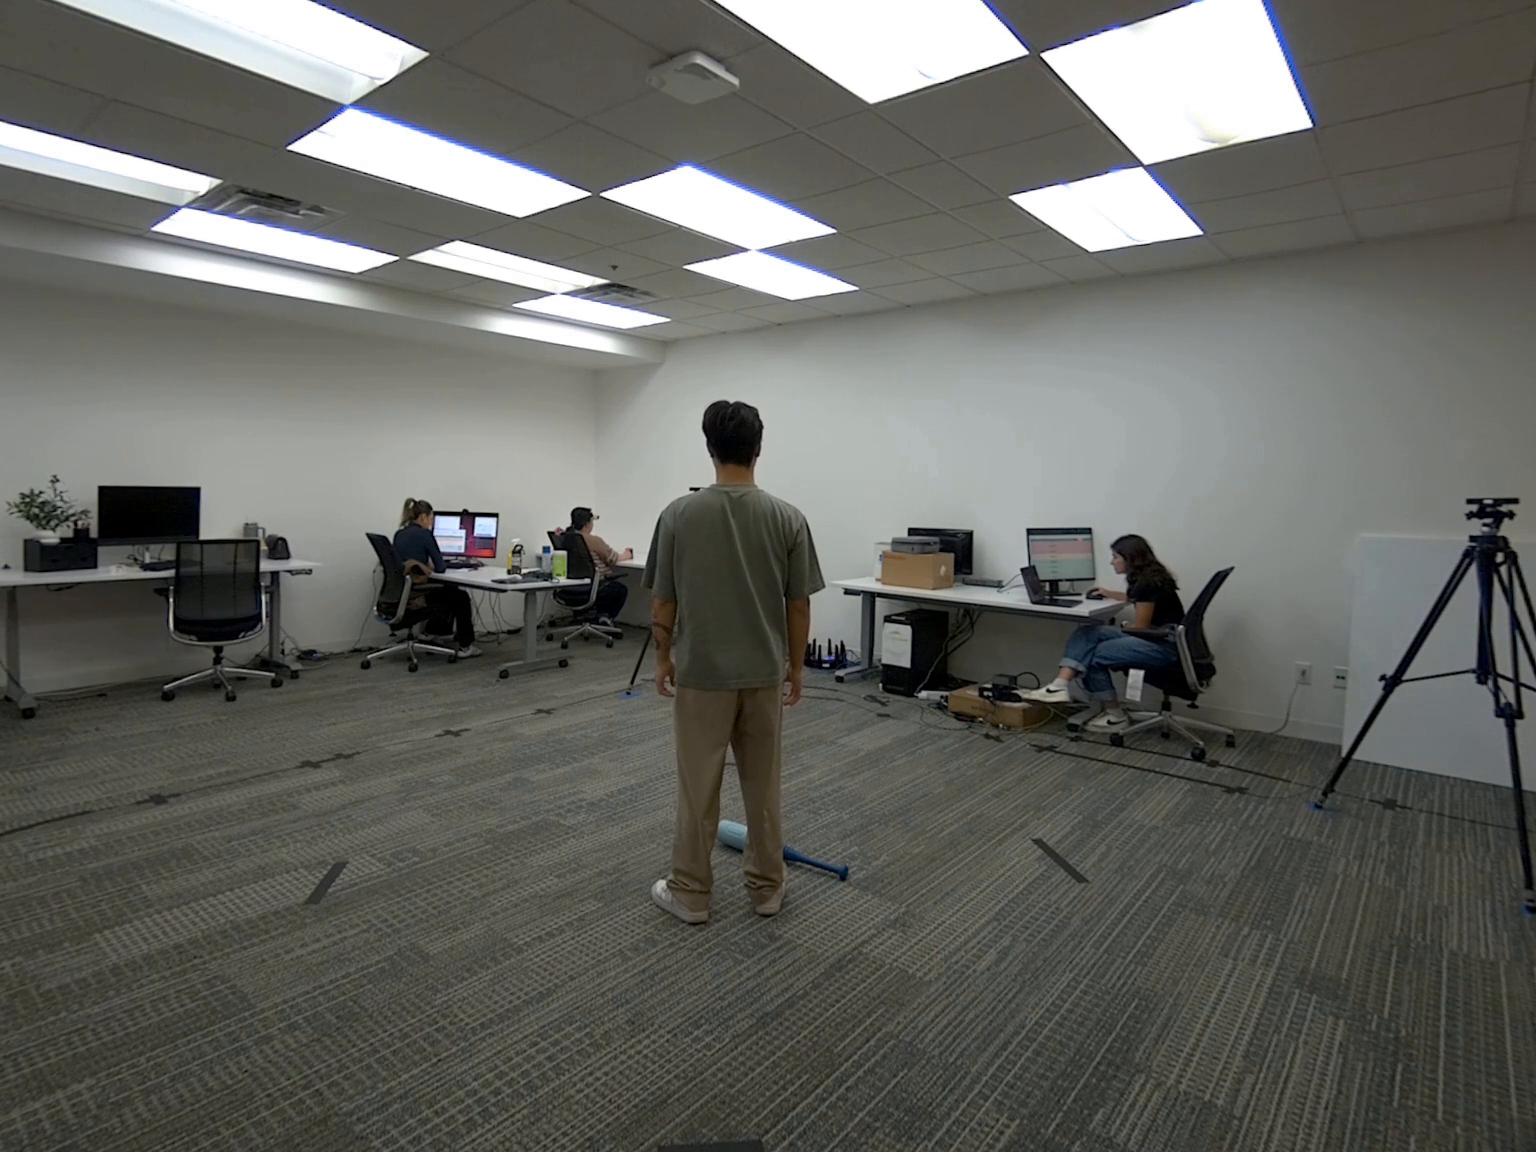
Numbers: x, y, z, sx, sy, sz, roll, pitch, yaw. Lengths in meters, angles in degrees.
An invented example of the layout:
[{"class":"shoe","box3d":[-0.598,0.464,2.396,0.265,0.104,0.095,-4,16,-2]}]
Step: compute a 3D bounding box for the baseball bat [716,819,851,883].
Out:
[{"class":"baseball bat","box3d":[0.038,1.031,3.187,0.560,0.088,0.087,9,8,31]}]
